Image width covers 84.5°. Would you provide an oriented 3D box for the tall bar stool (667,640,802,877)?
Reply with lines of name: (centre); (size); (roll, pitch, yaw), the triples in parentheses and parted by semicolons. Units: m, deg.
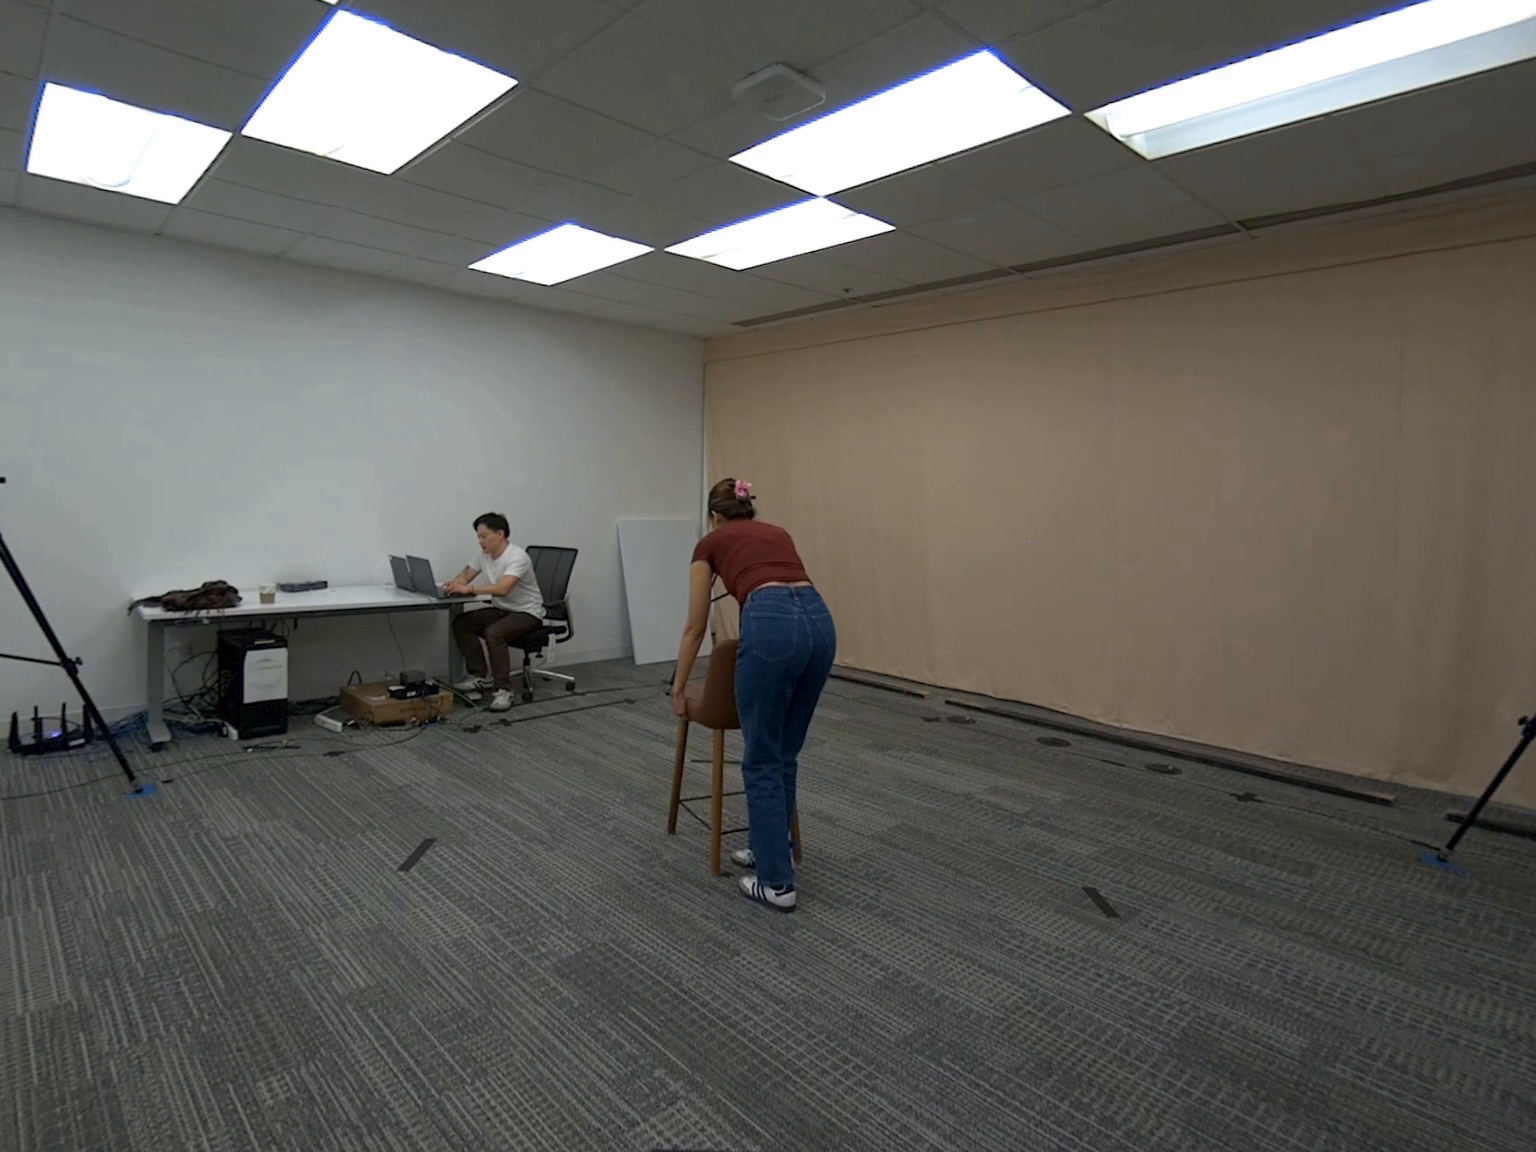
tall bar stool: (-0.128, 0.645, 3.329); (0.448, 0.886, 0.478); (-1, 6, -26)
